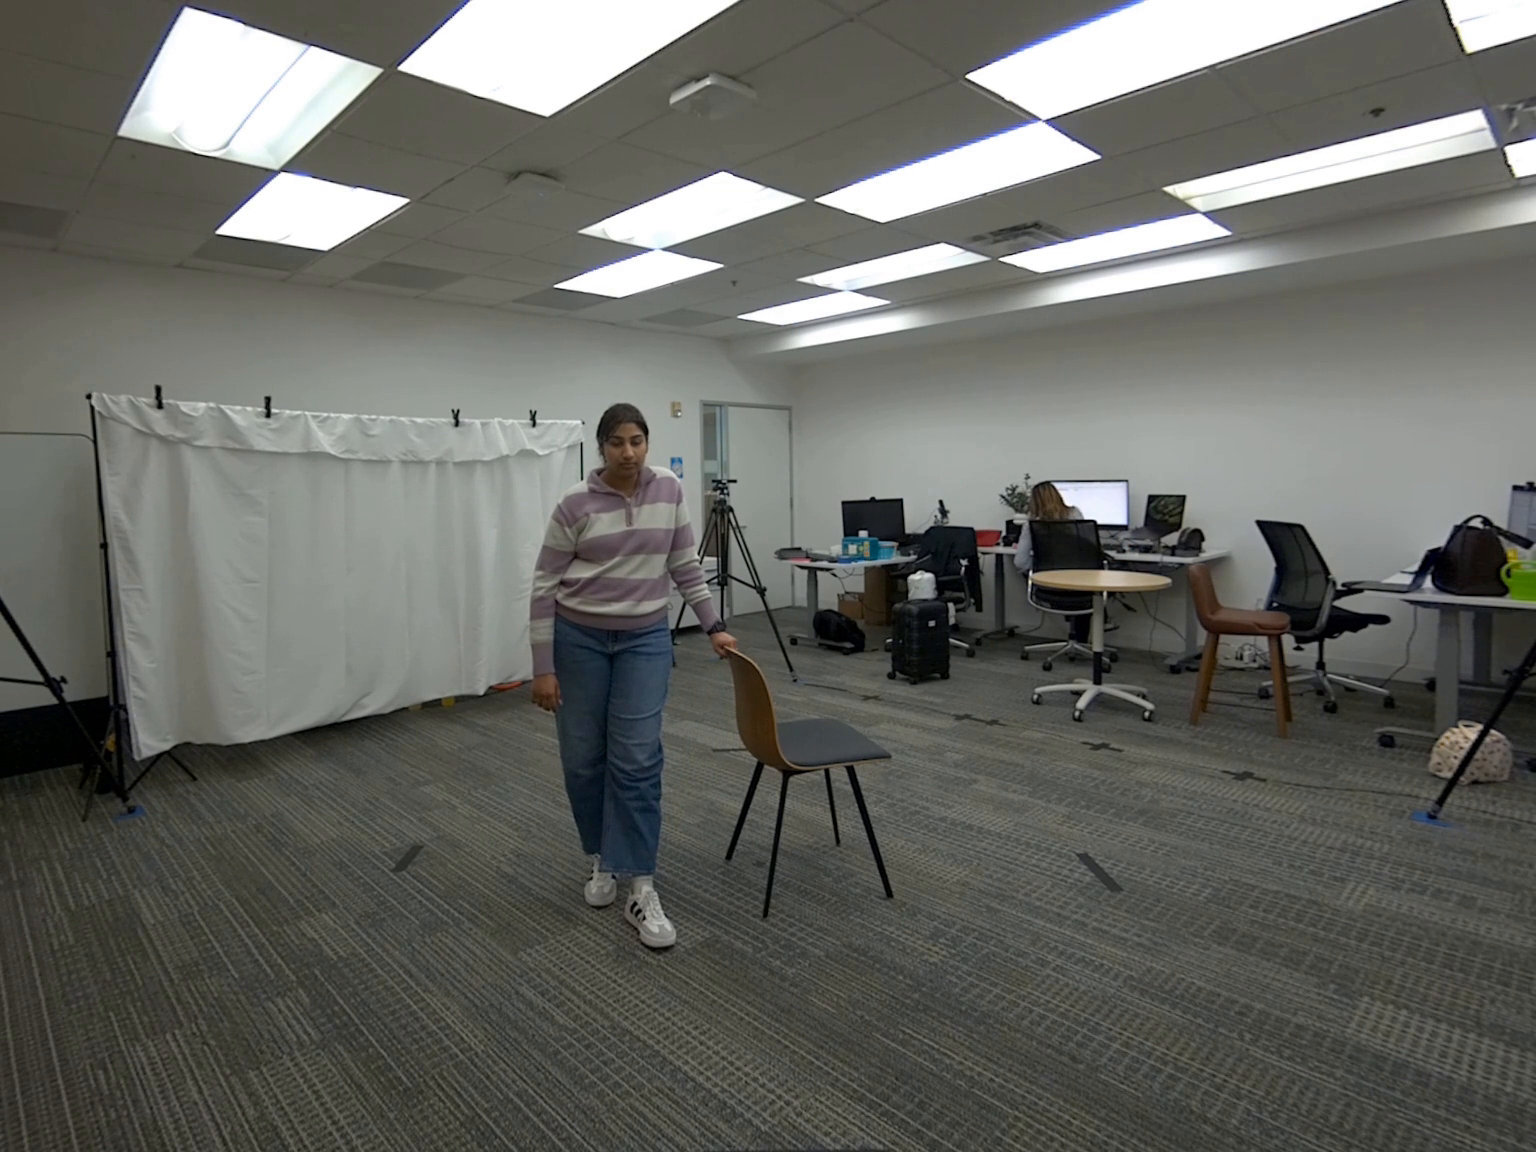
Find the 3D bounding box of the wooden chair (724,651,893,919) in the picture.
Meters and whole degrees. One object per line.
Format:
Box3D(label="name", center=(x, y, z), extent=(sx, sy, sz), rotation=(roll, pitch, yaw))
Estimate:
Box3D(label="wooden chair", center=(0.133, 0.630, 2.967), extent=(0.516, 0.873, 0.487), rotation=(-7, 5, -17))
